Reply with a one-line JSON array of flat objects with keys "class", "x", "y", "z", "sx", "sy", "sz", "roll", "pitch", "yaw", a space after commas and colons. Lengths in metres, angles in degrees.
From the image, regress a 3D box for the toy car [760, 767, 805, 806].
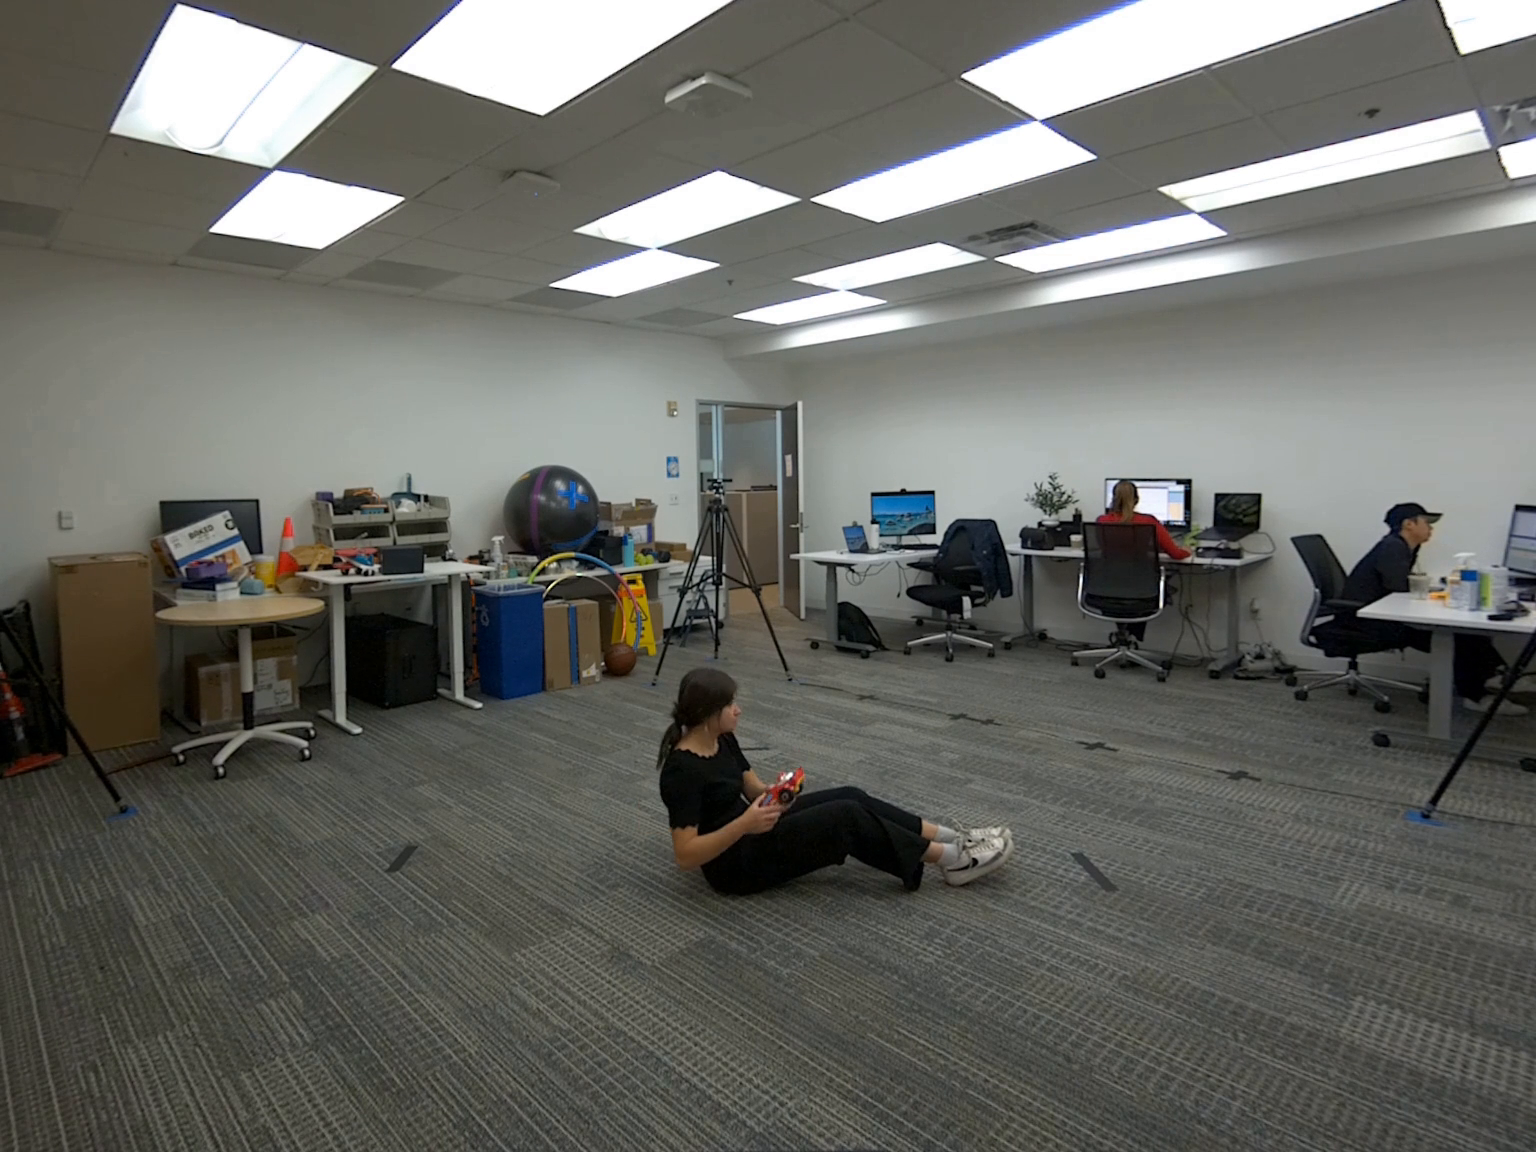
[{"class": "toy car", "x": 0.029, "y": 0.733, "z": 2.773, "sx": 0.085, "sy": 0.253, "sz": 0.128, "roll": 33, "pitch": 15, "yaw": 17}]
